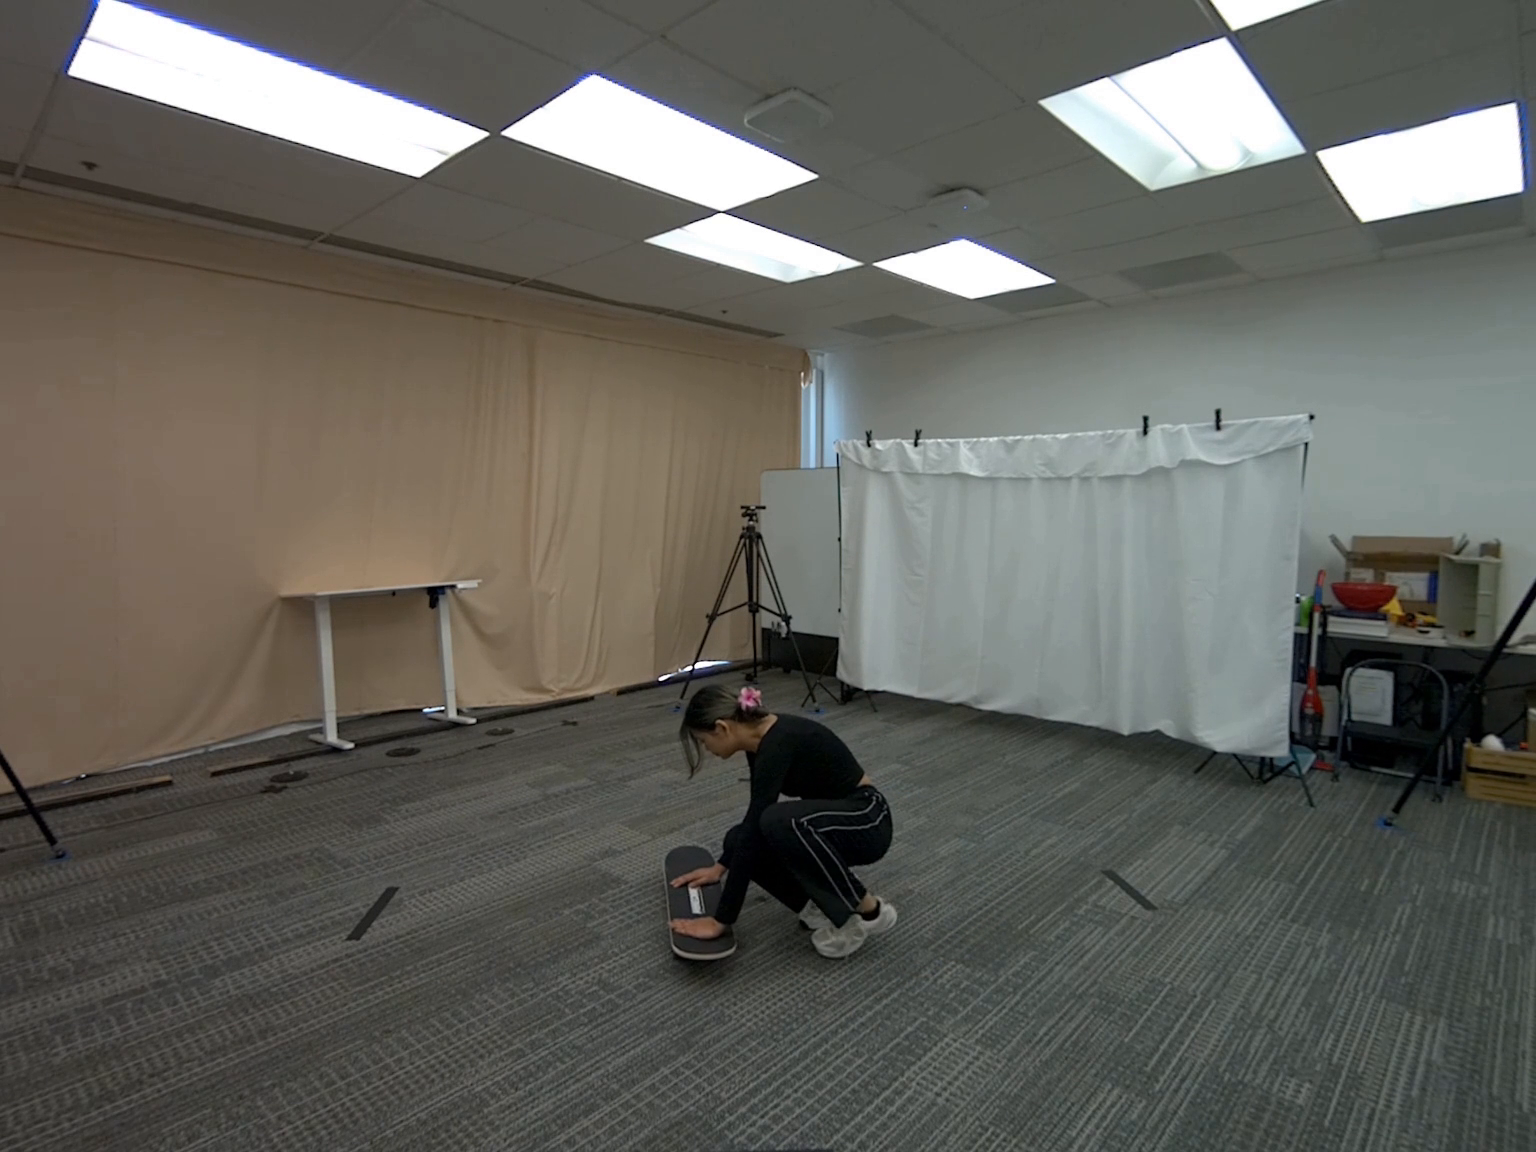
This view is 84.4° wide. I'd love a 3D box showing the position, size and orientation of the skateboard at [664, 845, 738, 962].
[{"bbox_3d":[-0.232,1.103,2.798,0.192,0.110,0.794,-1,4,-9],"label":"skateboard"}]
